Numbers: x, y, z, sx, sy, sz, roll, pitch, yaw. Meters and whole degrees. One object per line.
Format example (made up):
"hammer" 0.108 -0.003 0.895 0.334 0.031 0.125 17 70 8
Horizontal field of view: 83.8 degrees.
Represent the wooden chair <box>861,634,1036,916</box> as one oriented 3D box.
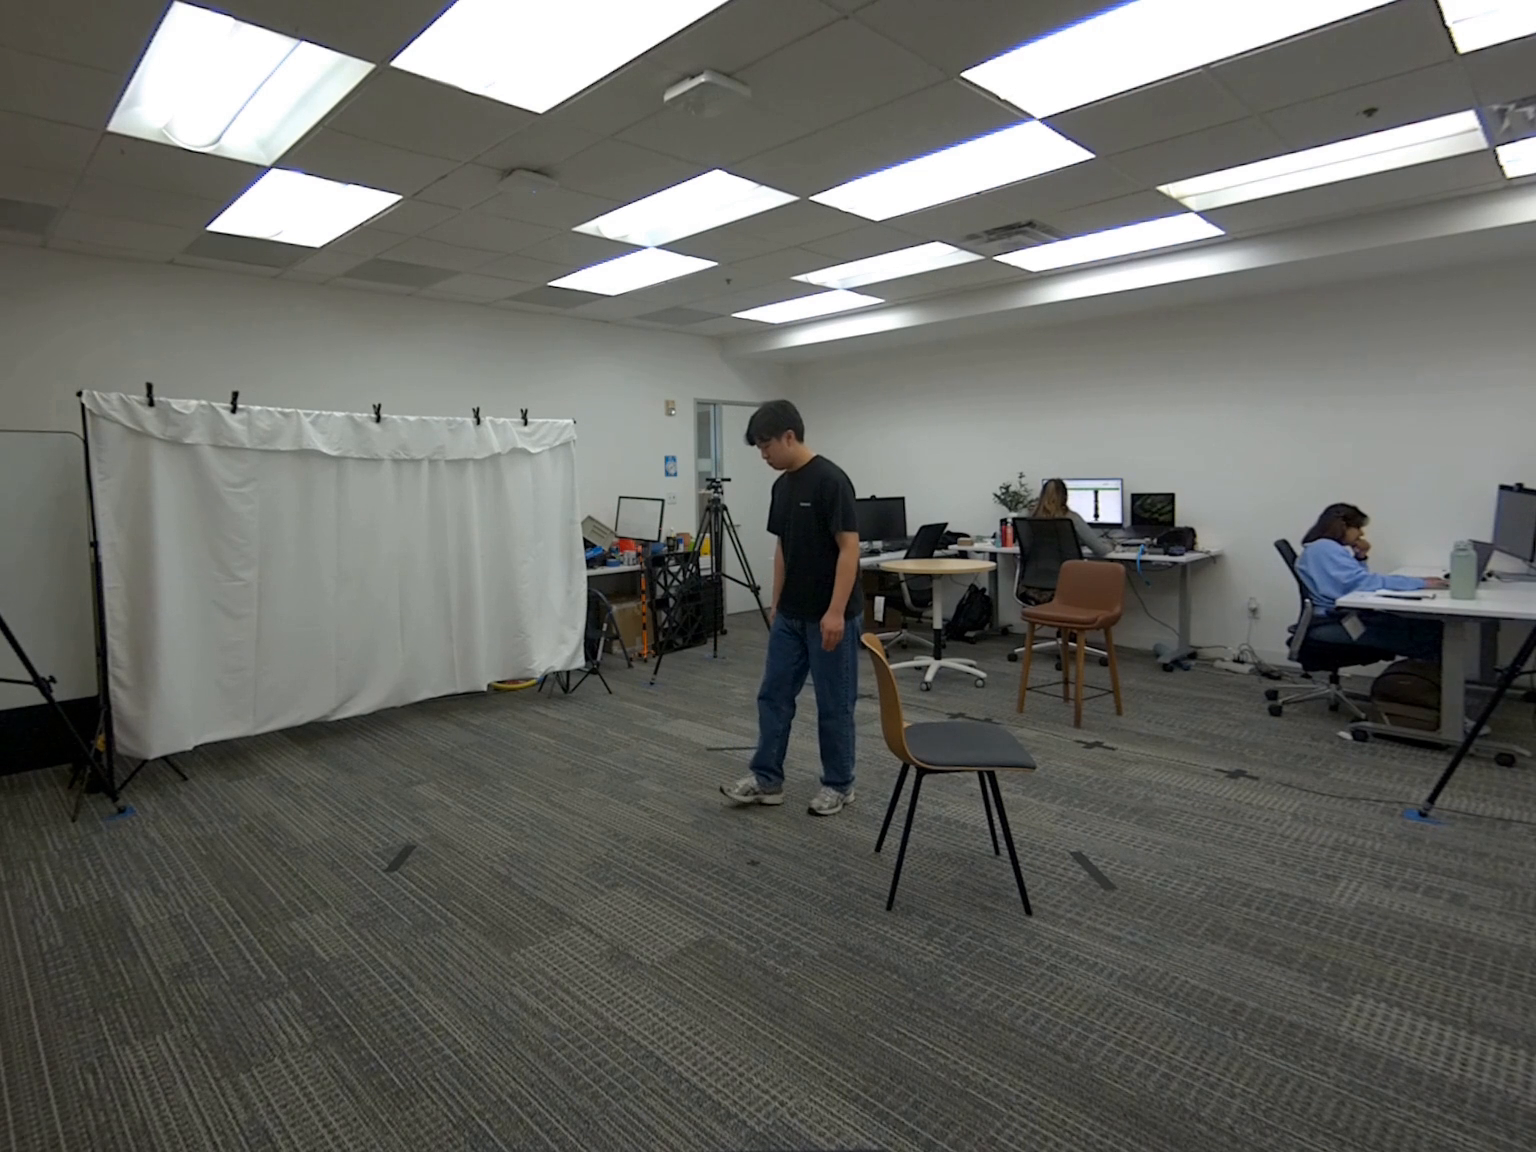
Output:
"wooden chair" 0.621 0.624 2.917 0.525 0.875 0.478 -5 3 3
